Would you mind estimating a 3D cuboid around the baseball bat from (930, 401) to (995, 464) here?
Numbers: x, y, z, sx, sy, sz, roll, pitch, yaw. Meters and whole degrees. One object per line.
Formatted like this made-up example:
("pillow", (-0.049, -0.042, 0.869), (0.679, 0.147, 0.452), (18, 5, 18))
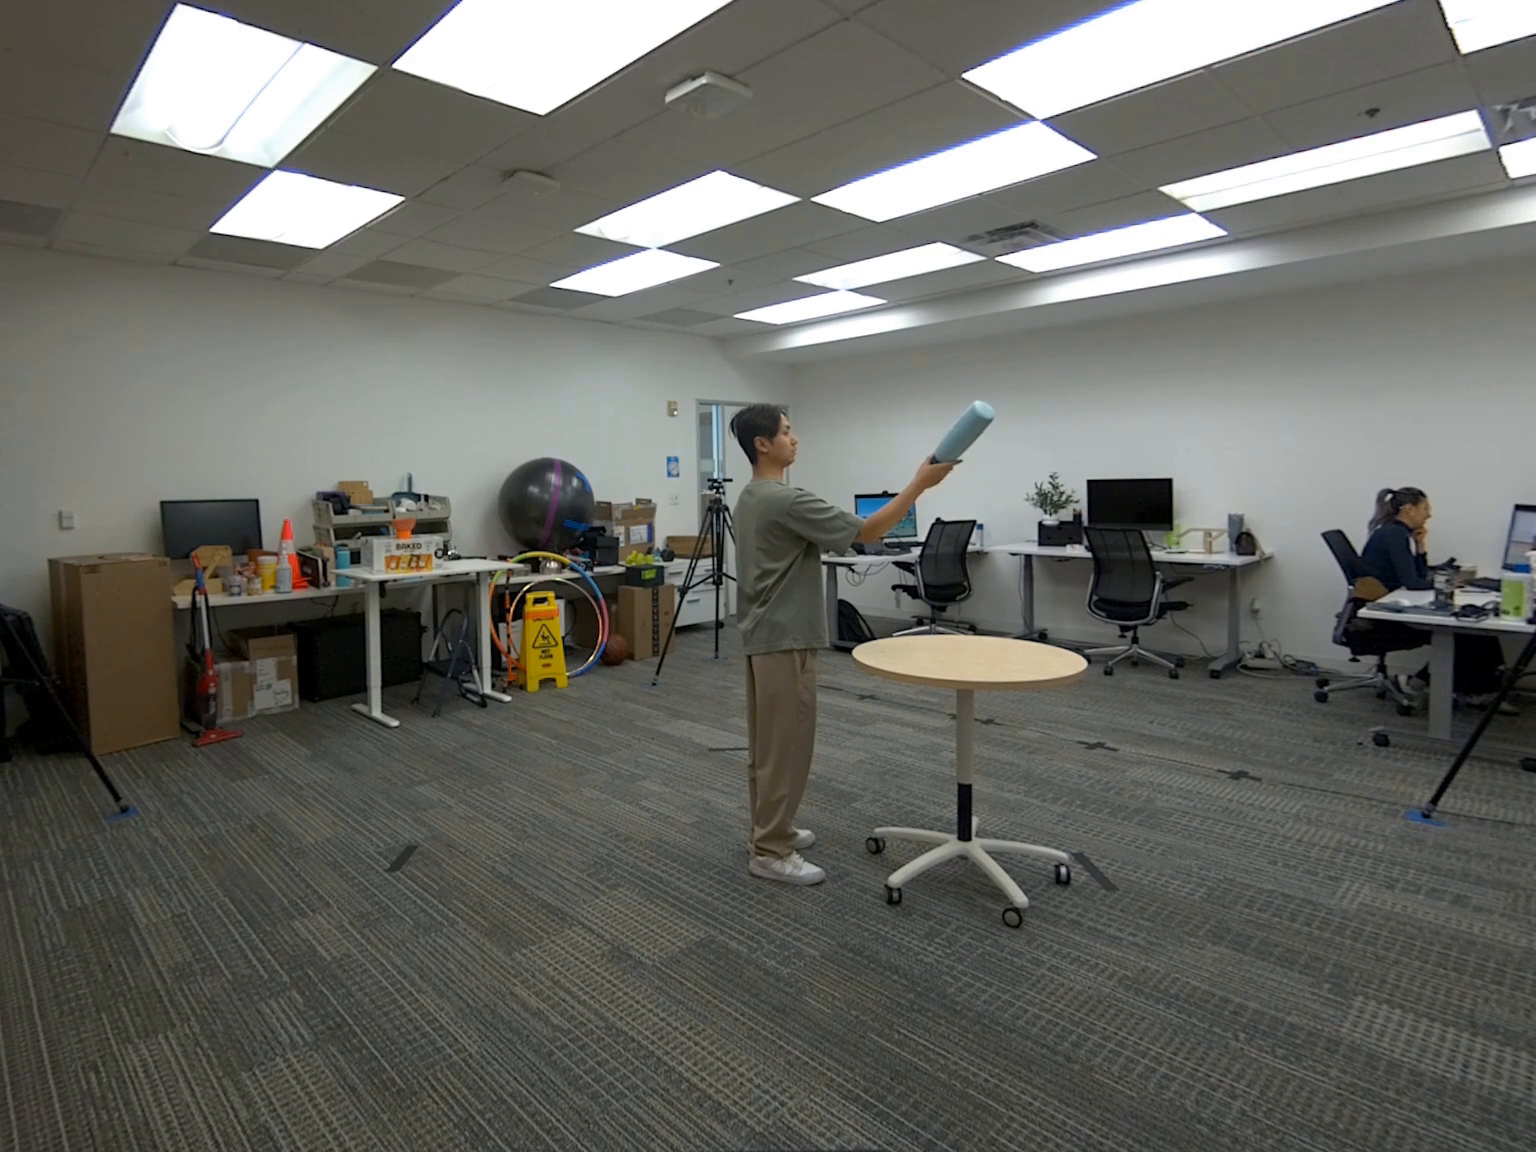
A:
("baseball bat", (0.598, -0.399, 2.955), (0.087, 0.092, 0.539), (-3, -31, -27))
